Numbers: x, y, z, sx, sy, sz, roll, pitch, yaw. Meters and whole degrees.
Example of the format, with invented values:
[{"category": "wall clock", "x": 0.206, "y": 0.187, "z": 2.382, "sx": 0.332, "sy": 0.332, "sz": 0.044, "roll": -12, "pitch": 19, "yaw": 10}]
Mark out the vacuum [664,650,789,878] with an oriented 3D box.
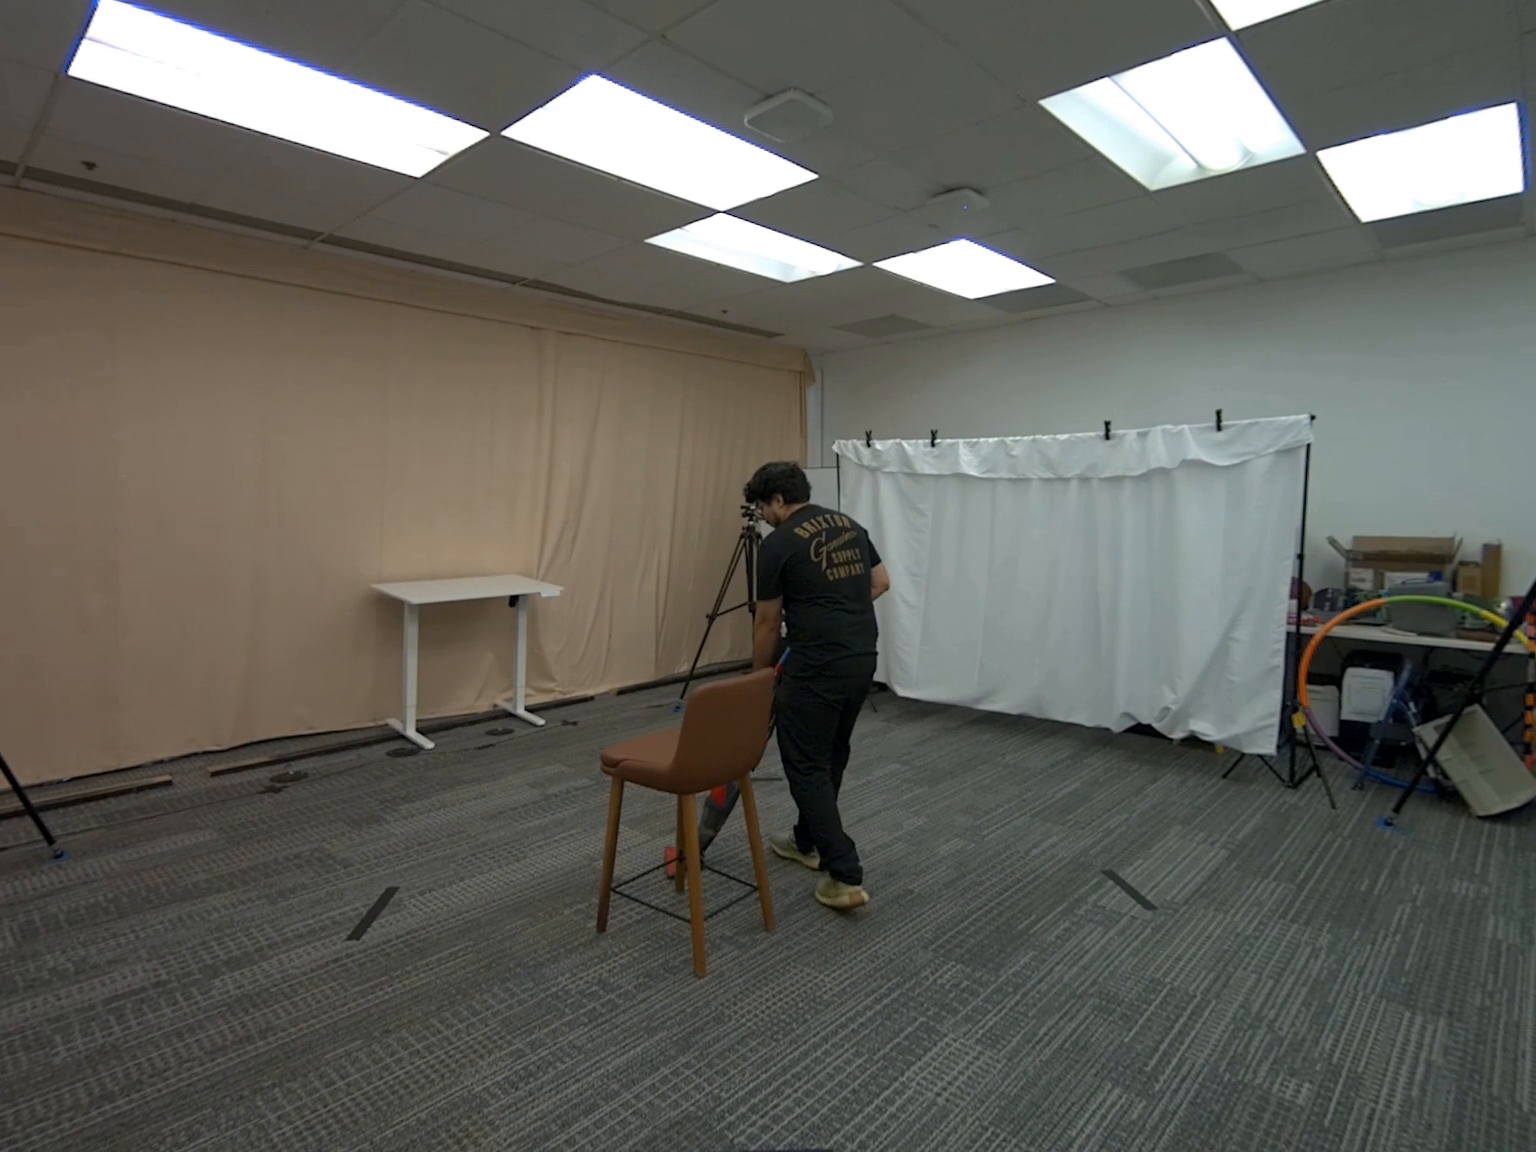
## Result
[{"category": "vacuum", "x": -0.074, "y": 0.665, "z": 3.269, "sx": 0.142, "sy": 1.049, "sz": 0.256, "roll": 29, "pitch": -1, "yaw": -13}]
